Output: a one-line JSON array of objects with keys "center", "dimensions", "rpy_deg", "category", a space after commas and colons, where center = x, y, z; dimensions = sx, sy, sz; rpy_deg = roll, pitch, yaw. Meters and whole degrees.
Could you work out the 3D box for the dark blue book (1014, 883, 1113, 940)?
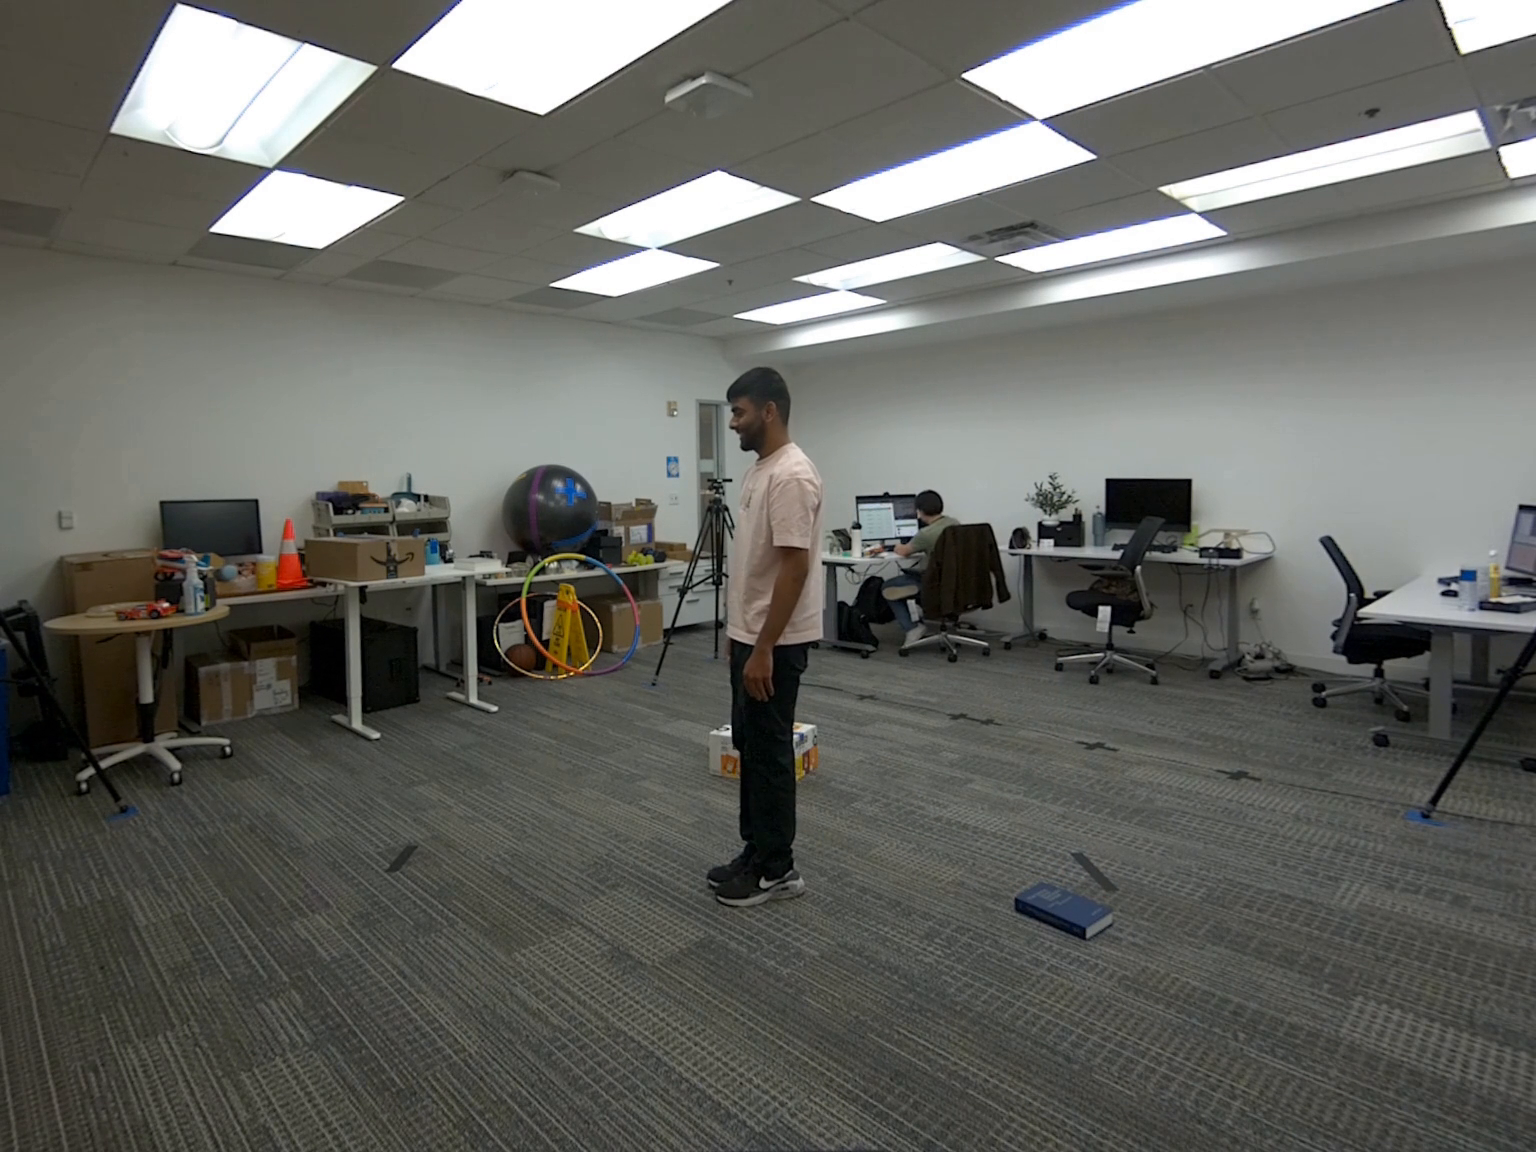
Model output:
[{"center": [0.922, 1.048, 2.689], "dimensions": [0.159, 0.045, 0.252], "rpy_deg": [-6, 7, -39], "category": "dark blue book"}]
